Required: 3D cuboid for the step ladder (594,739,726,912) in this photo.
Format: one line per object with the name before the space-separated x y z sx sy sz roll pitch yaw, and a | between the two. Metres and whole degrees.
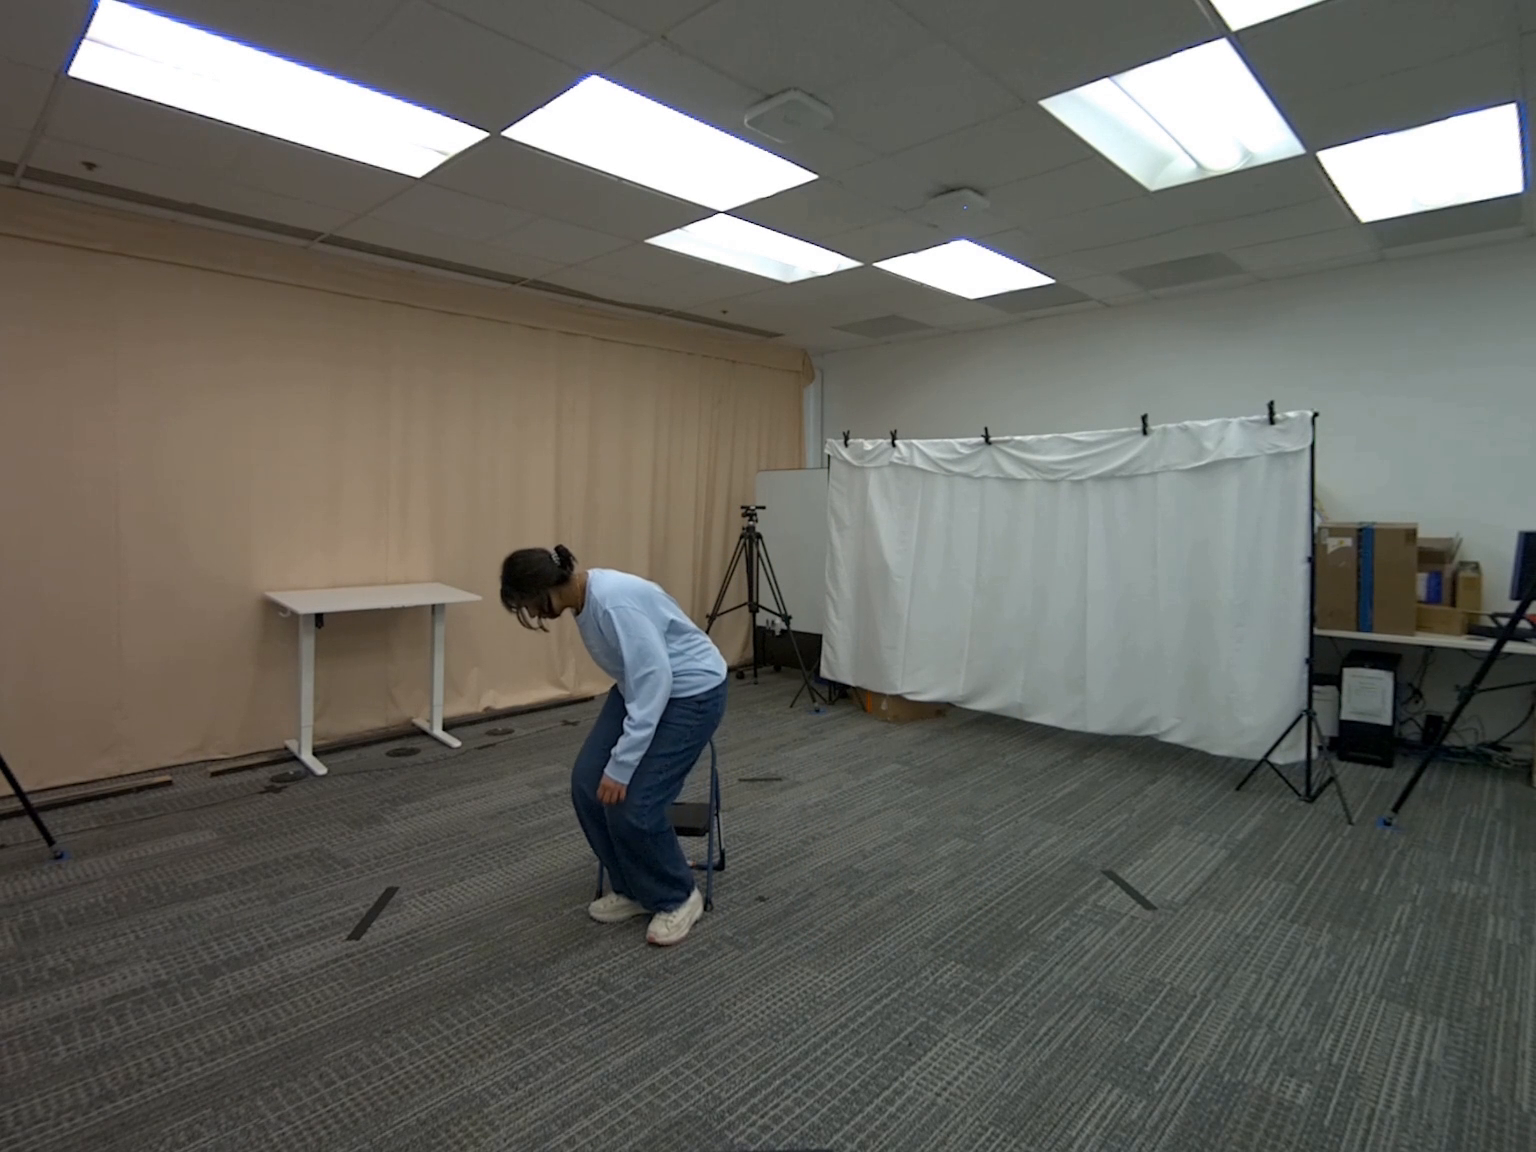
step ladder | -0.385 0.834 3.087 0.434 0.605 0.347 0 4 7
